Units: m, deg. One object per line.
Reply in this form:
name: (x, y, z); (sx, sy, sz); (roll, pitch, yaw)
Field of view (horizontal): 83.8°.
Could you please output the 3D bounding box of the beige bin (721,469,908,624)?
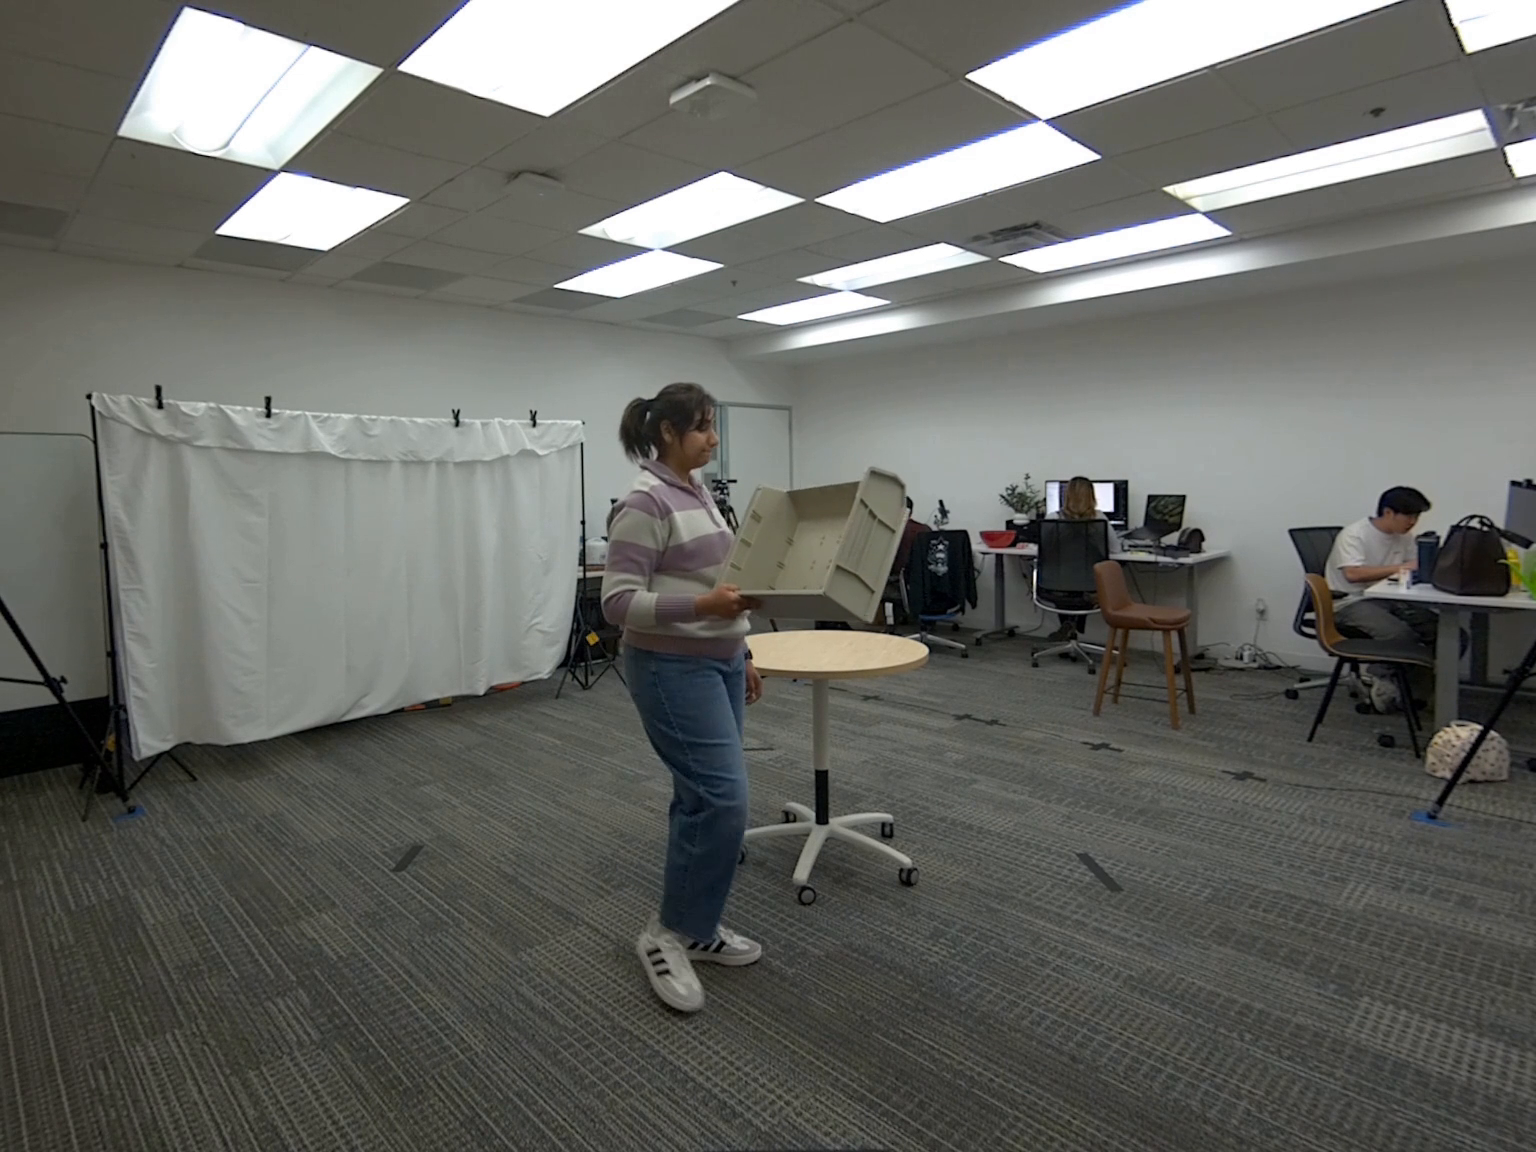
beige bin: (0.117, -0.077, 2.191); (0.182, 0.381, 0.433); (33, -22, -34)
